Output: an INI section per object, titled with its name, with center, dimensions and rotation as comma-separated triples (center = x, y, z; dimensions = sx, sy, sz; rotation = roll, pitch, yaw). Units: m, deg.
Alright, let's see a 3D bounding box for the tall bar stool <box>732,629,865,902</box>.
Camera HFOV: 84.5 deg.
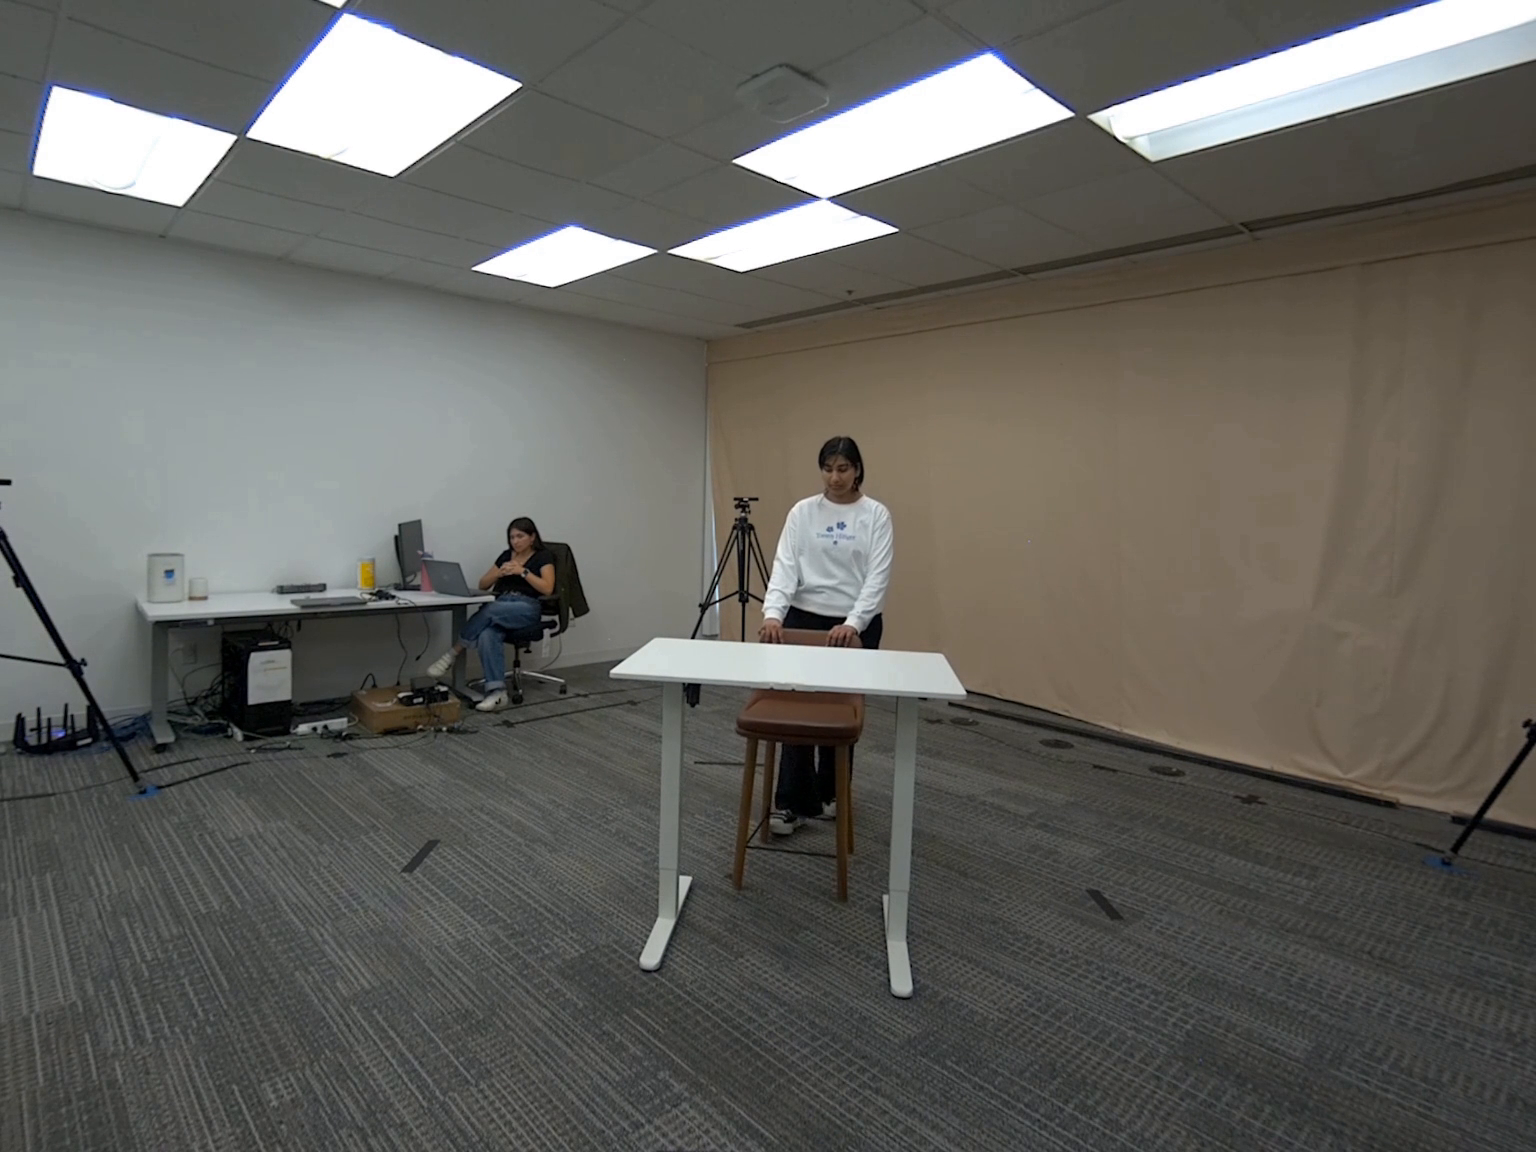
[tall bar stool]
center = 0.119, 0.673, 3.154
dimensions = 0.462, 0.890, 0.462
rotation = 2, 0, 14
